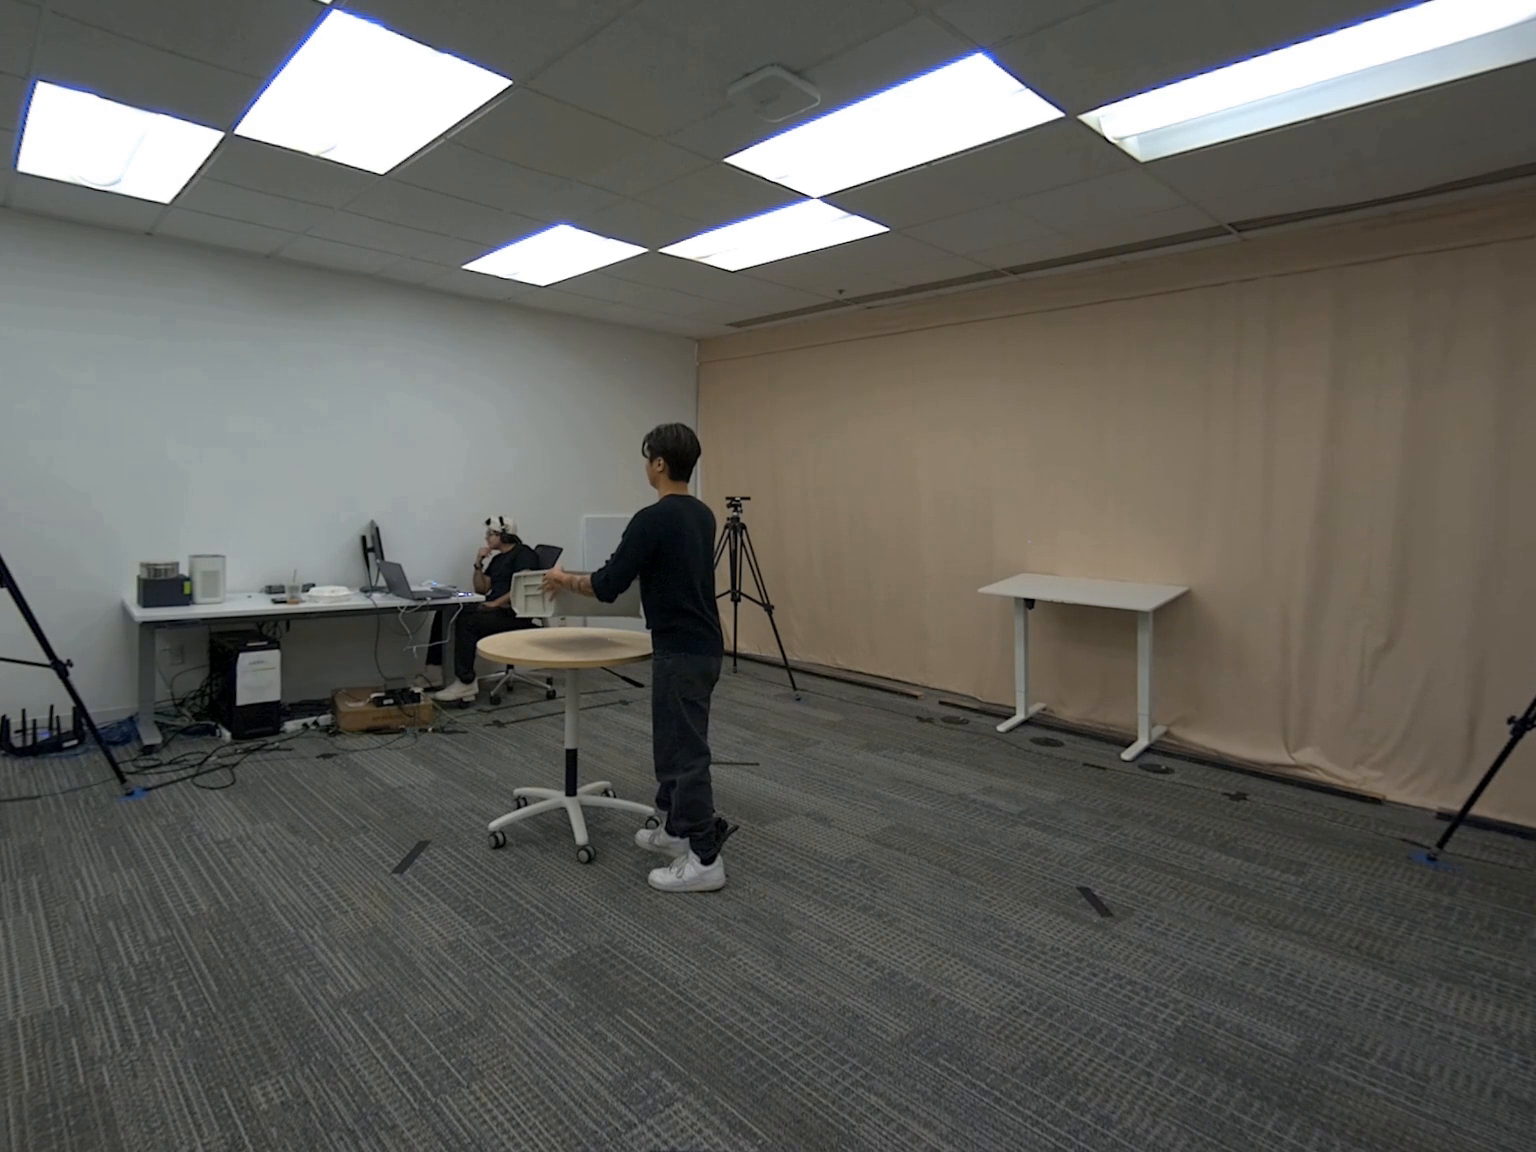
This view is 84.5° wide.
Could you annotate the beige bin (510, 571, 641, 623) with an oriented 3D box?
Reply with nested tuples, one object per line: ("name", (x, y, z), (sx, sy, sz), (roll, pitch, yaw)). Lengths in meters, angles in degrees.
("beige bin", (-0.785, 0.078, 3.446), (0.412, 0.189, 0.386), (2, 0, -38))
